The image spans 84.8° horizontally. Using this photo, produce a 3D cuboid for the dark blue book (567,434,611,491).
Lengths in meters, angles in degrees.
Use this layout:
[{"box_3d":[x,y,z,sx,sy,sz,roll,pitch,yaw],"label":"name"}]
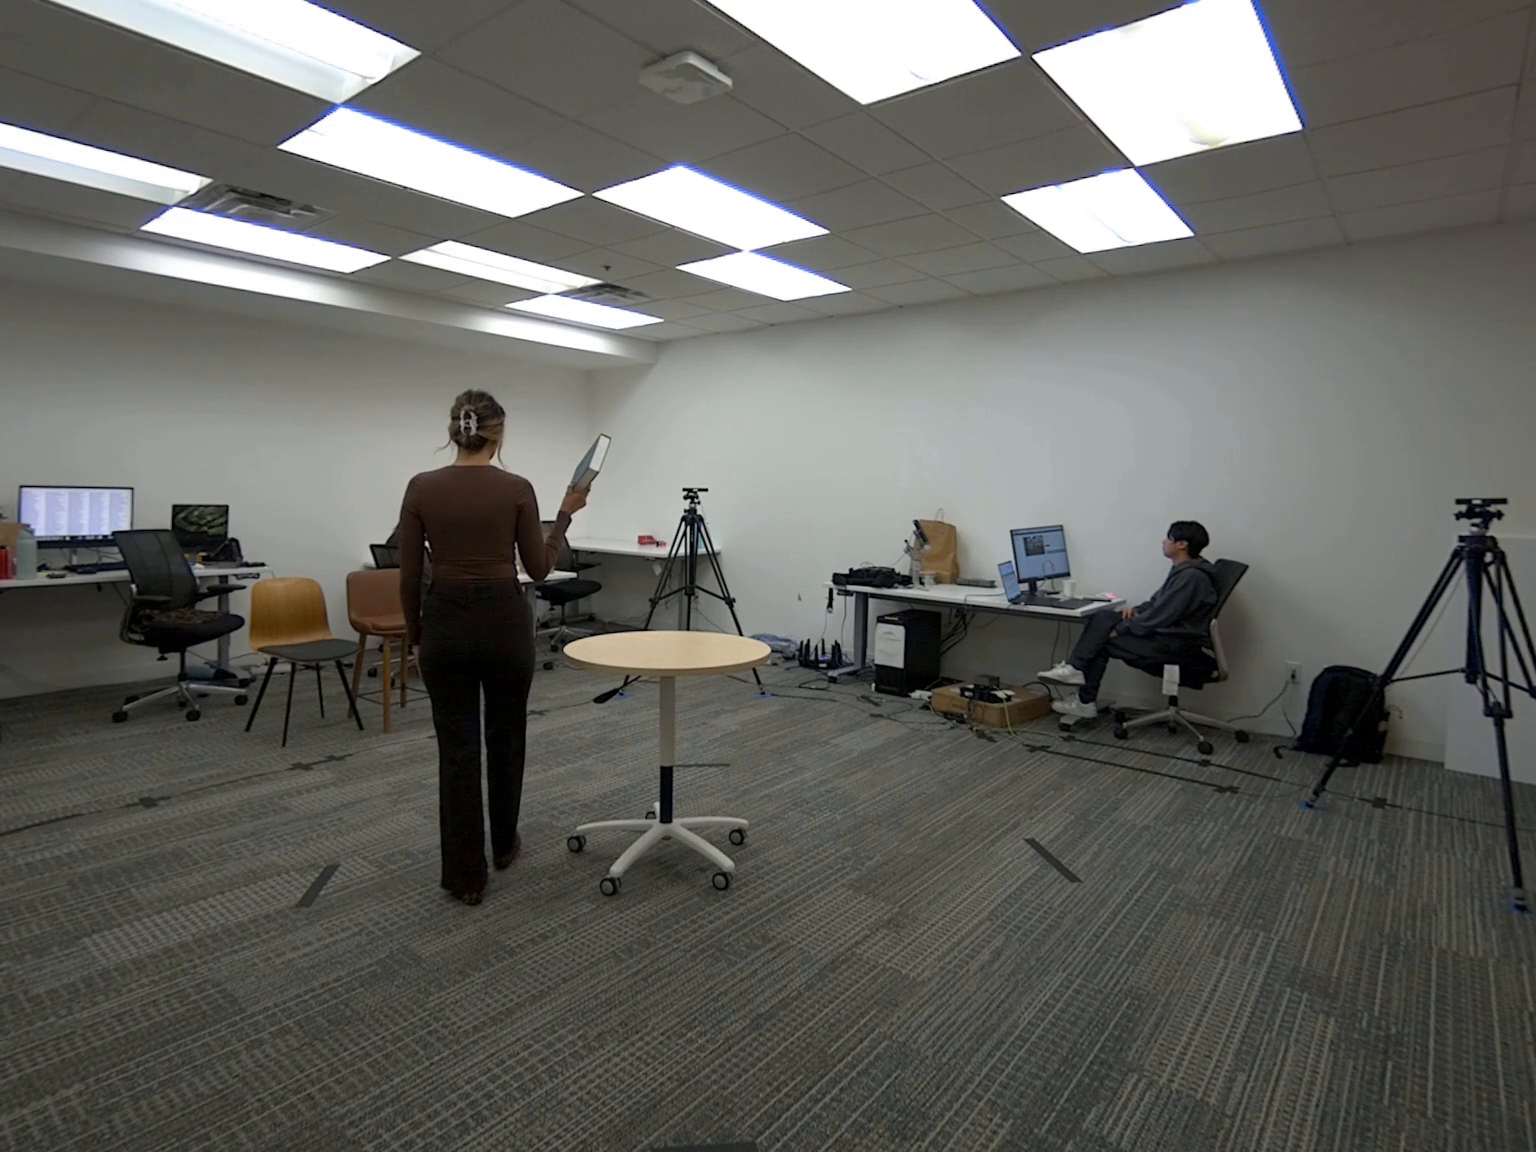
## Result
[{"box_3d":[-0.669,-0.392,3.094,0.044,0.166,0.246,24,-34,-19],"label":"dark blue book"}]
